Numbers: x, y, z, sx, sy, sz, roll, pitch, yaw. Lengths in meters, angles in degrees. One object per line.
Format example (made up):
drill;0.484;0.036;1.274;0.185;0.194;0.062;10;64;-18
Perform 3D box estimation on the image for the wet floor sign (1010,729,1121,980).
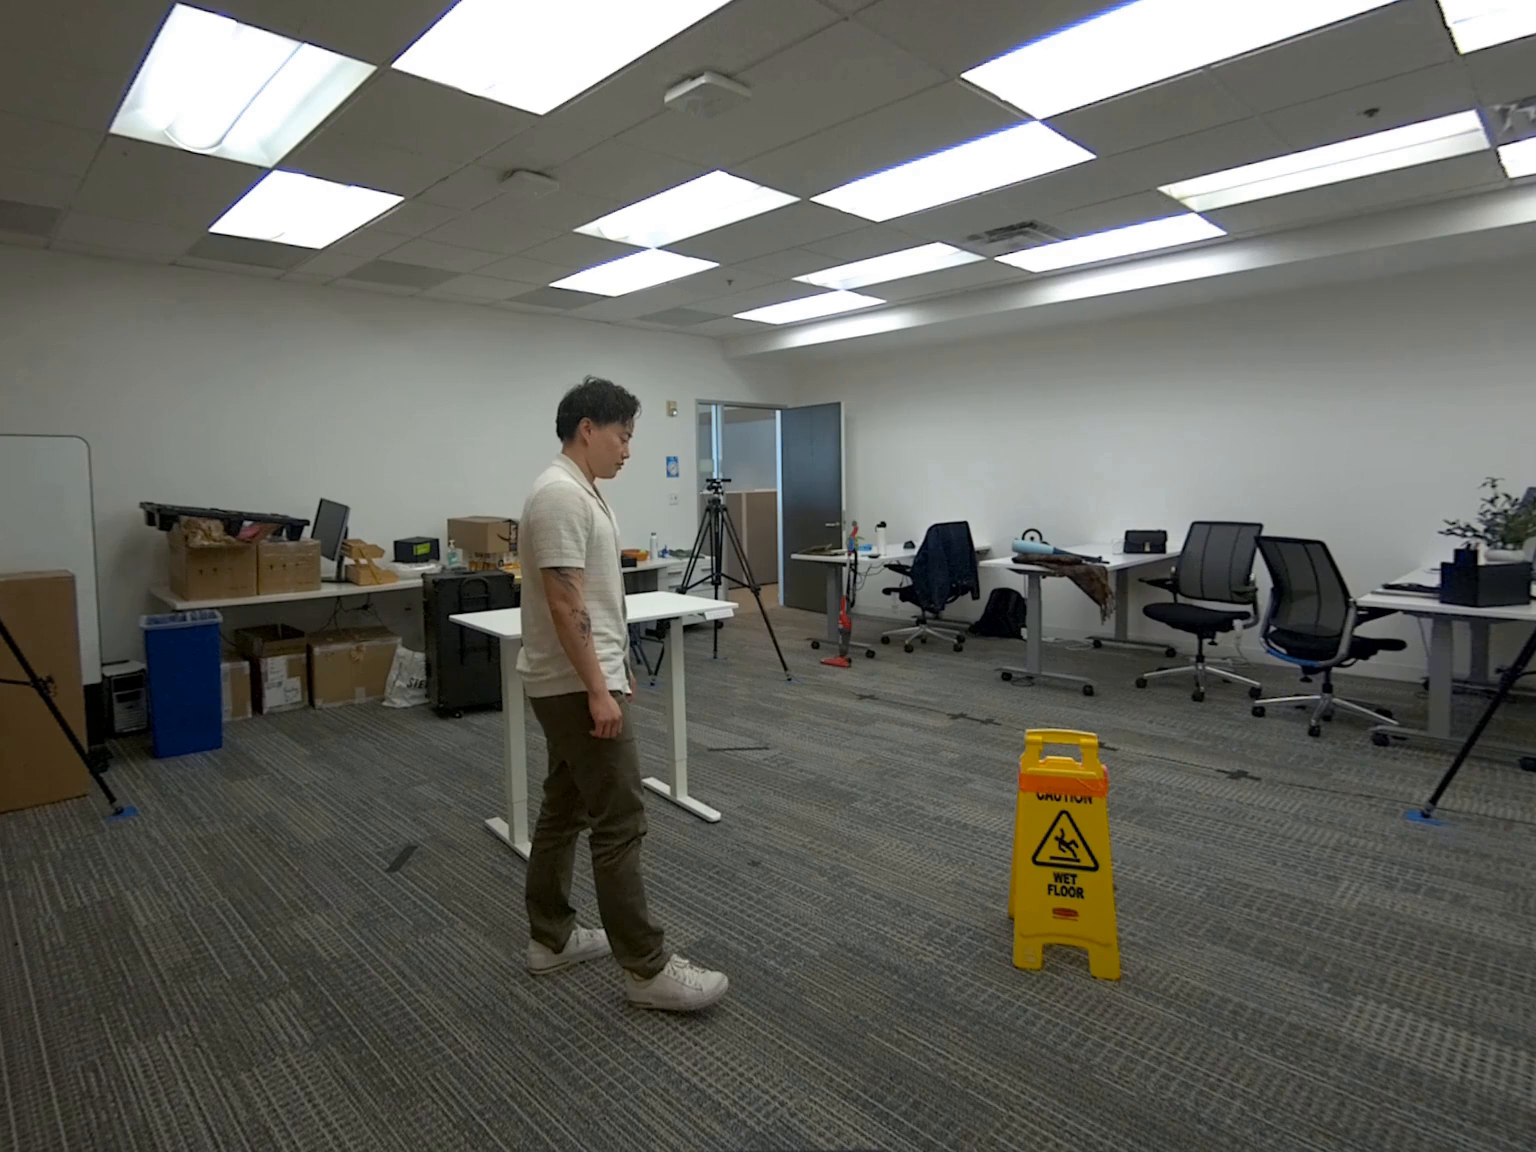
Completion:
wet floor sign;0.870;0.767;2.498;0.286;0.644;0.287;-3;3;13
